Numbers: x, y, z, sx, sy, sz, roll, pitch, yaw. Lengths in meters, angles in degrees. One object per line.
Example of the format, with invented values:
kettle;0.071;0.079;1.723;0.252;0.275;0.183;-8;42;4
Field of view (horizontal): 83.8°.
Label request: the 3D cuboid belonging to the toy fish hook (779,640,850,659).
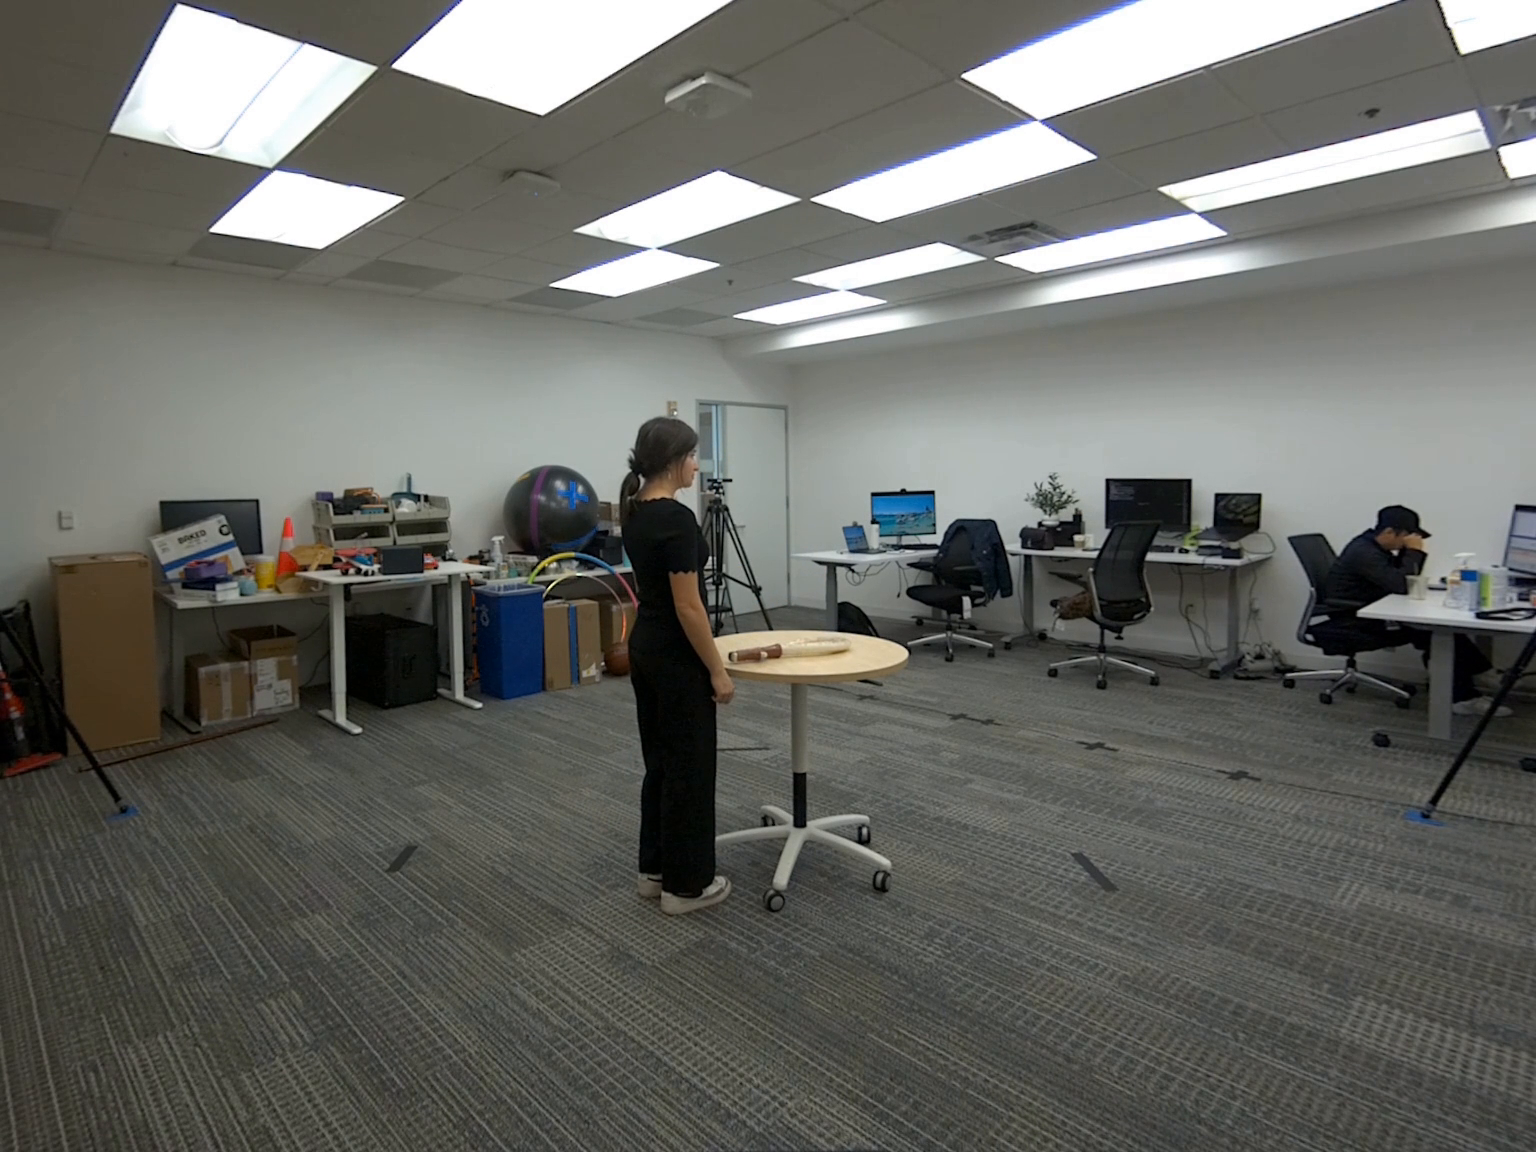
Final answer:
toy fish hook;0.066;0.260;2.991;0.494;0.048;0.230;-4;0;-31
